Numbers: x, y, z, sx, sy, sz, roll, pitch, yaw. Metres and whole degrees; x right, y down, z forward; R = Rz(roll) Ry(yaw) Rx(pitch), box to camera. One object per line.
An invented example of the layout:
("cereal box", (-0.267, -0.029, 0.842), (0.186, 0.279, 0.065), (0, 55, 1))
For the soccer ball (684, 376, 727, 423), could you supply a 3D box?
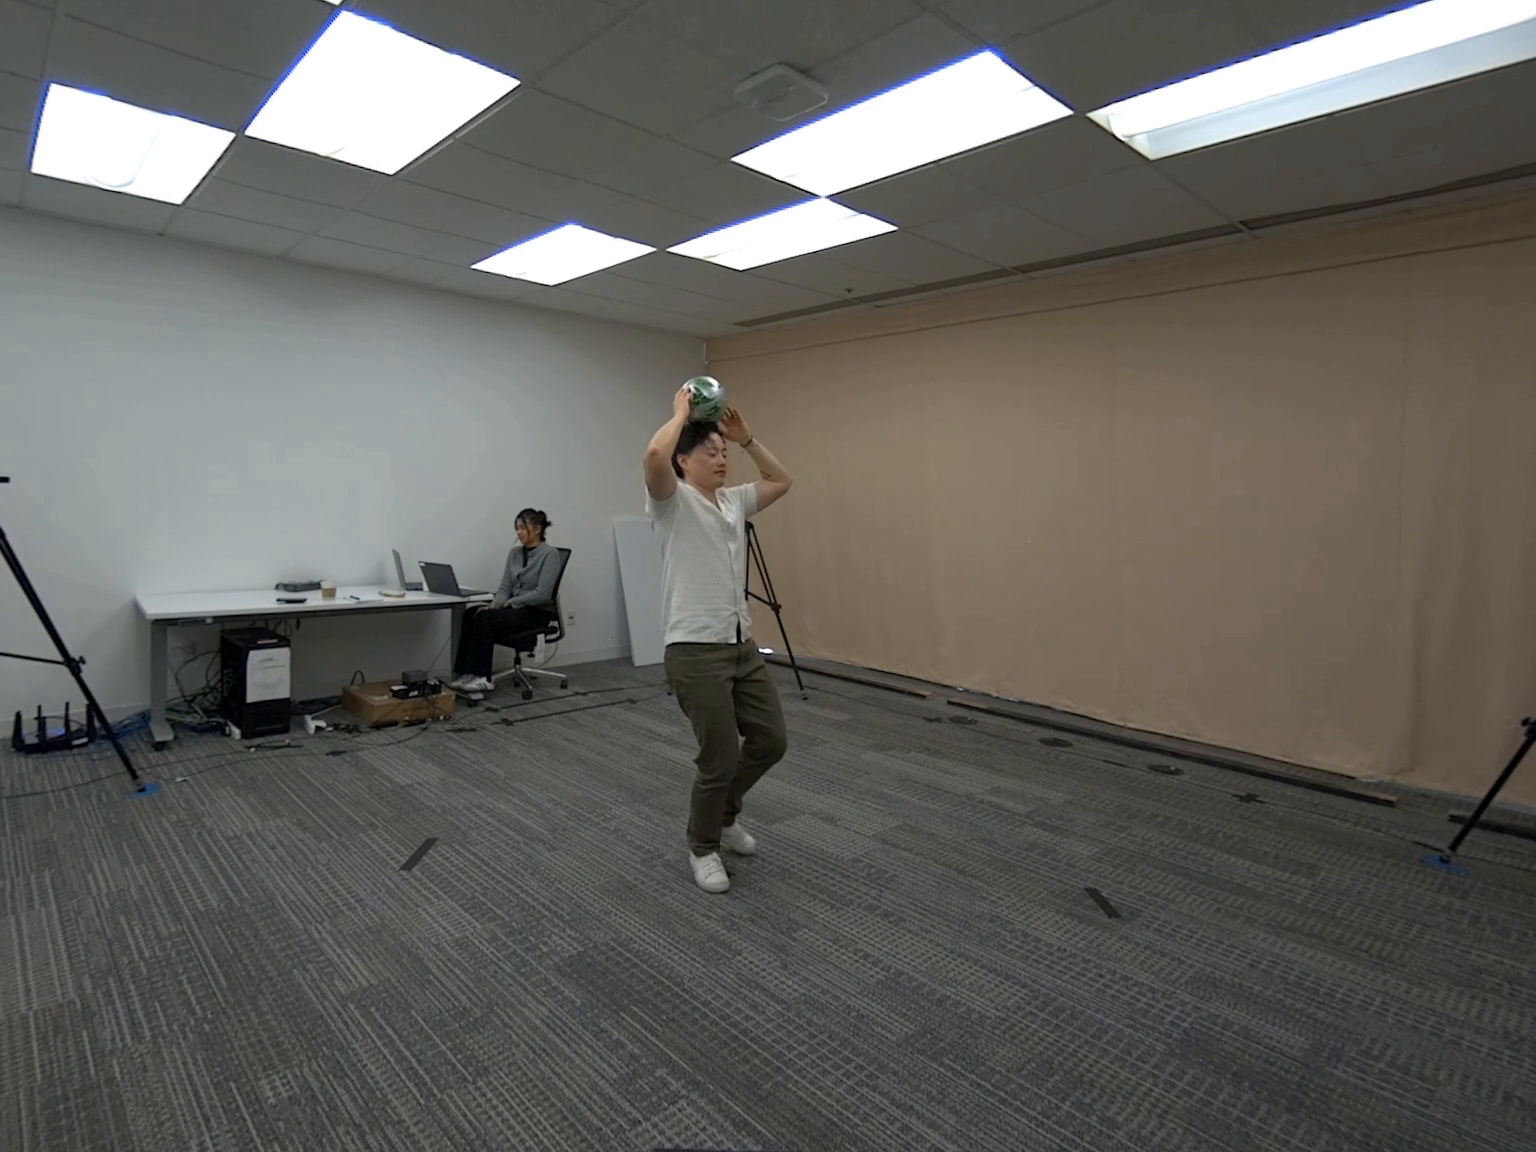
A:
("soccer ball", (-0.262, -0.638, 3.115), (0.187, 0.187, 0.188), (1, 4, -1))
